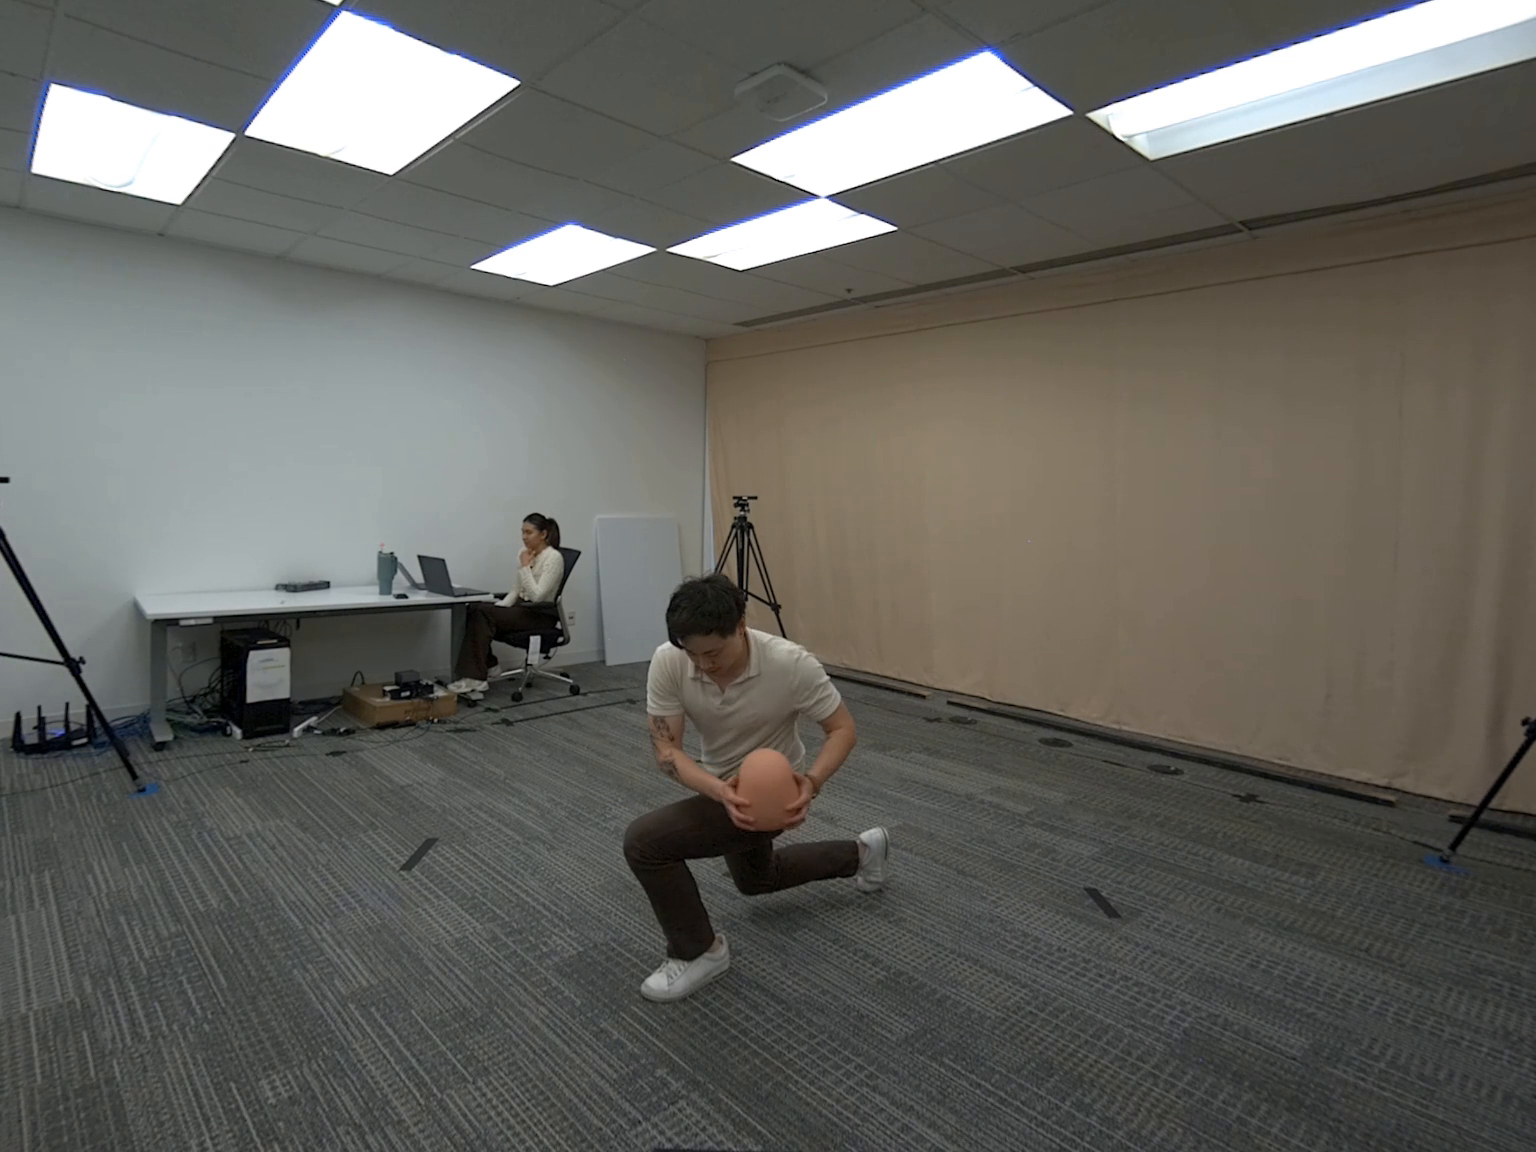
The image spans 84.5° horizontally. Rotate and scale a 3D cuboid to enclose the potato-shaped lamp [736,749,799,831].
[{"bbox_3d":[-0.039,0.541,2.163,0.166,0.197,0.171,3,7,9],"label":"potato-shaped lamp"}]
